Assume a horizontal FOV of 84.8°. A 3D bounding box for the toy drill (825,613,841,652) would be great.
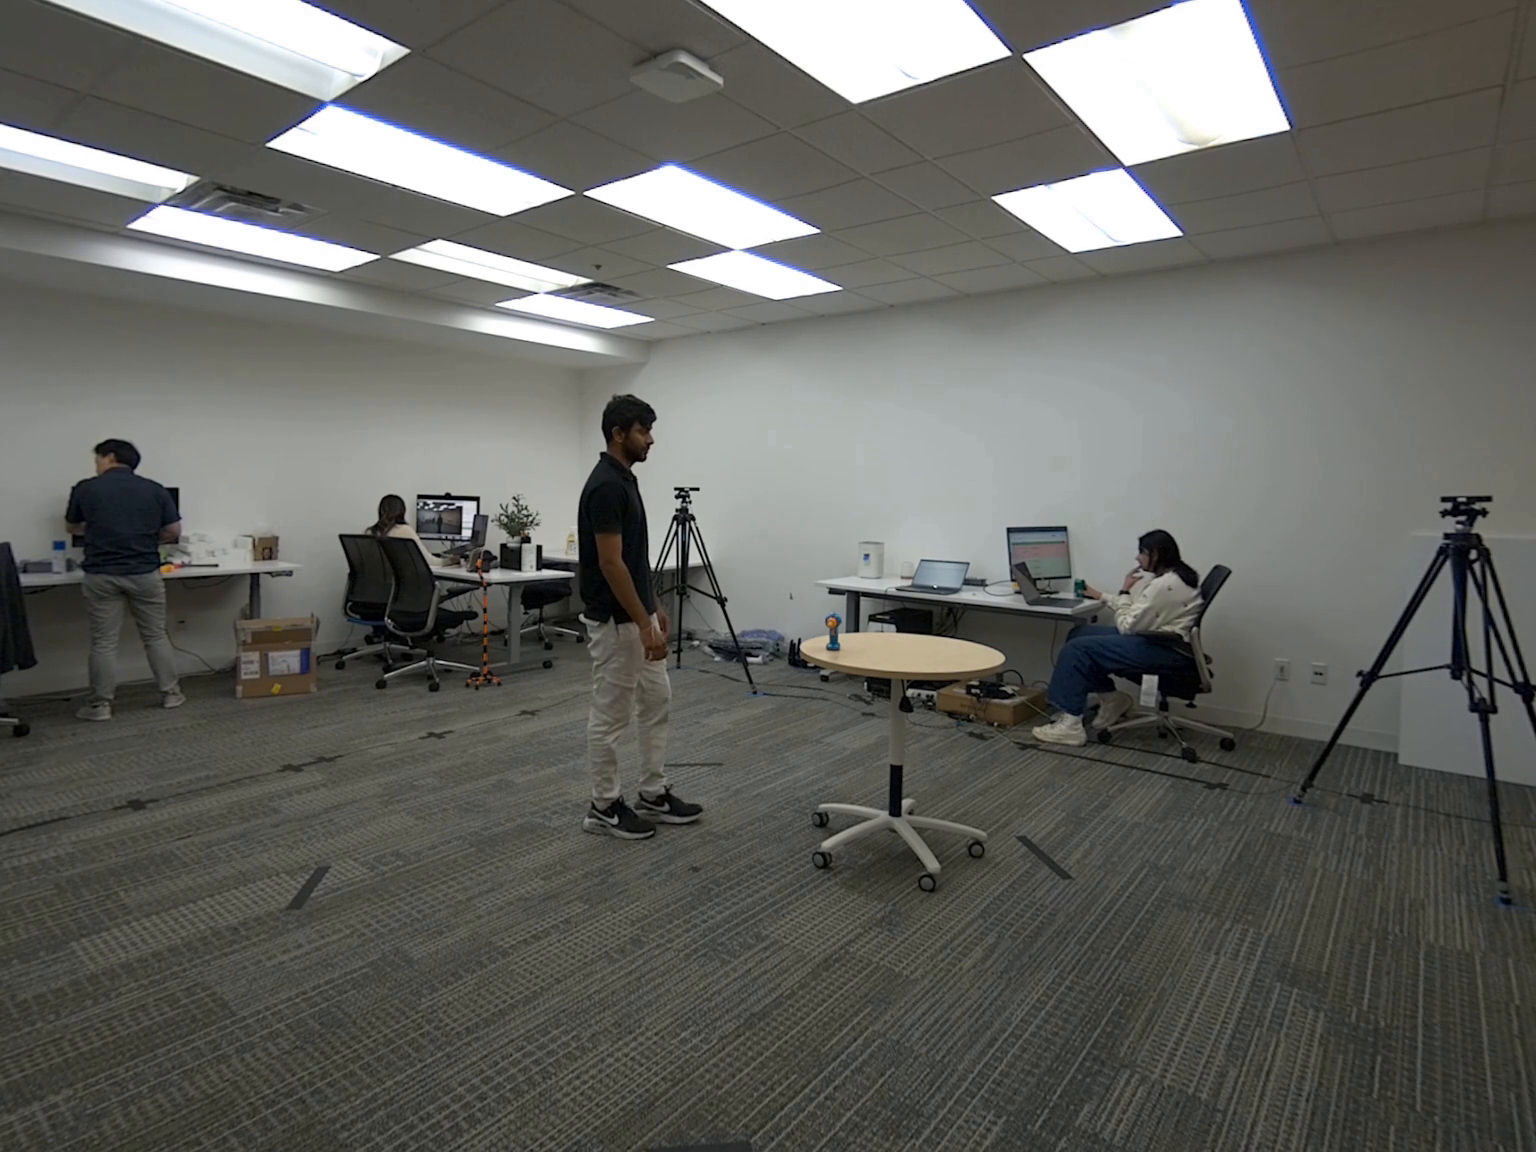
[{"bbox_3d":[0.243,0.208,3.227,0.061,0.145,0.169,0,4,4],"label":"toy drill"}]
